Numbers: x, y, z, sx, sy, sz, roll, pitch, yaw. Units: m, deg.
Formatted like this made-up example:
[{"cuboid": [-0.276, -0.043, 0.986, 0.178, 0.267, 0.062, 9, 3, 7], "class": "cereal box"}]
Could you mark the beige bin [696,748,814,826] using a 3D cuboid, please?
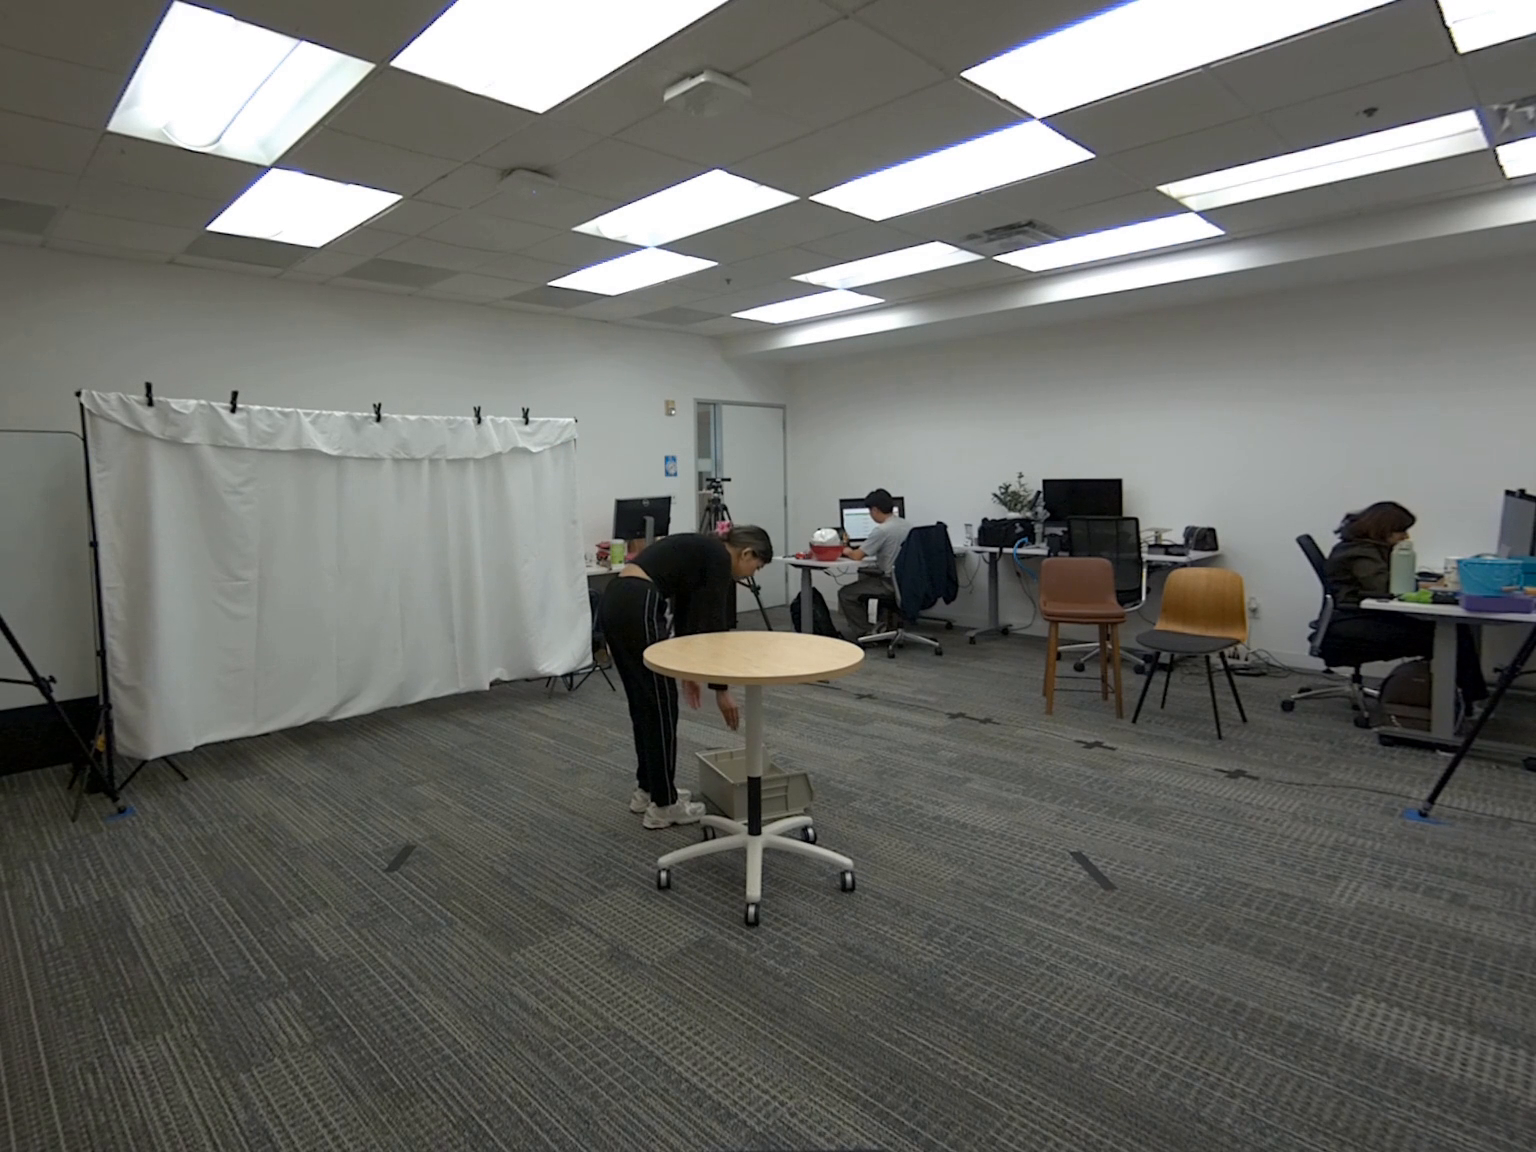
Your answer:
[{"cuboid": [-0.067, 0.882, 3.692, 0.370, 0.188, 0.433, -5, 7, -25], "class": "beige bin"}]
